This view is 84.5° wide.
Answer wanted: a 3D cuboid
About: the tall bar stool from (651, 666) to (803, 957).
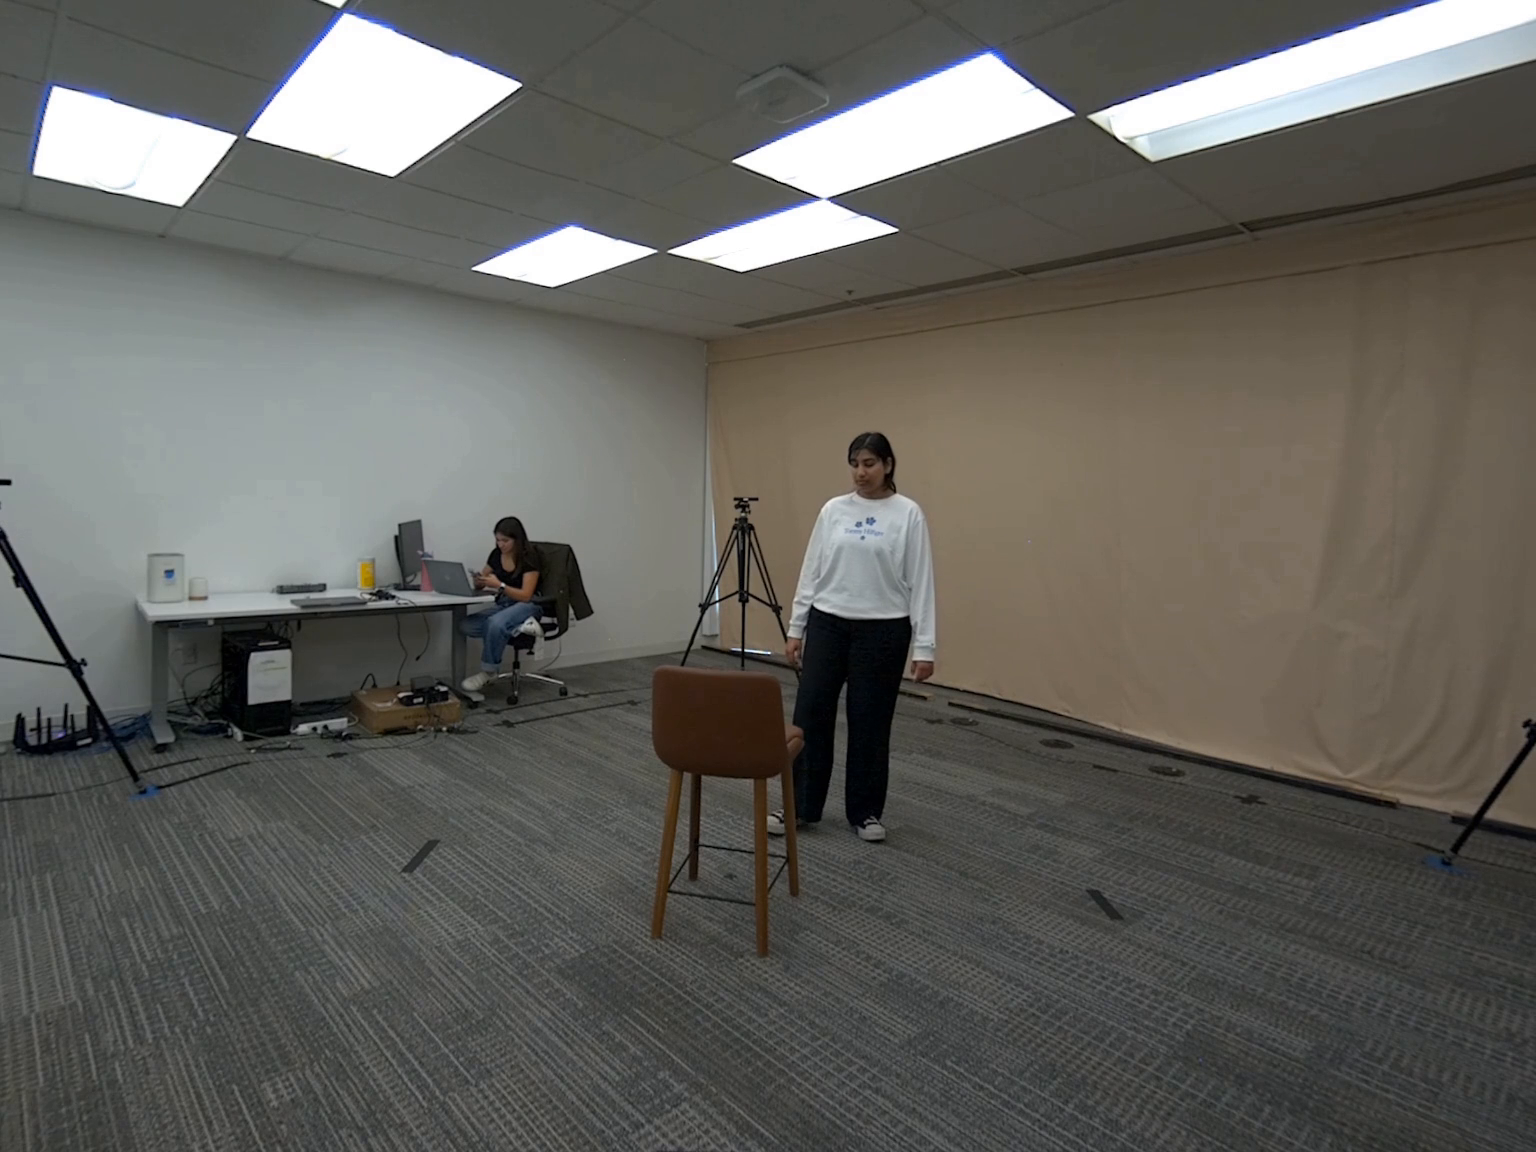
[{"bbox_3d":[-0.135,0.704,2.787,0.462,0.886,0.463,2,5,15],"label":"tall bar stool"}]
